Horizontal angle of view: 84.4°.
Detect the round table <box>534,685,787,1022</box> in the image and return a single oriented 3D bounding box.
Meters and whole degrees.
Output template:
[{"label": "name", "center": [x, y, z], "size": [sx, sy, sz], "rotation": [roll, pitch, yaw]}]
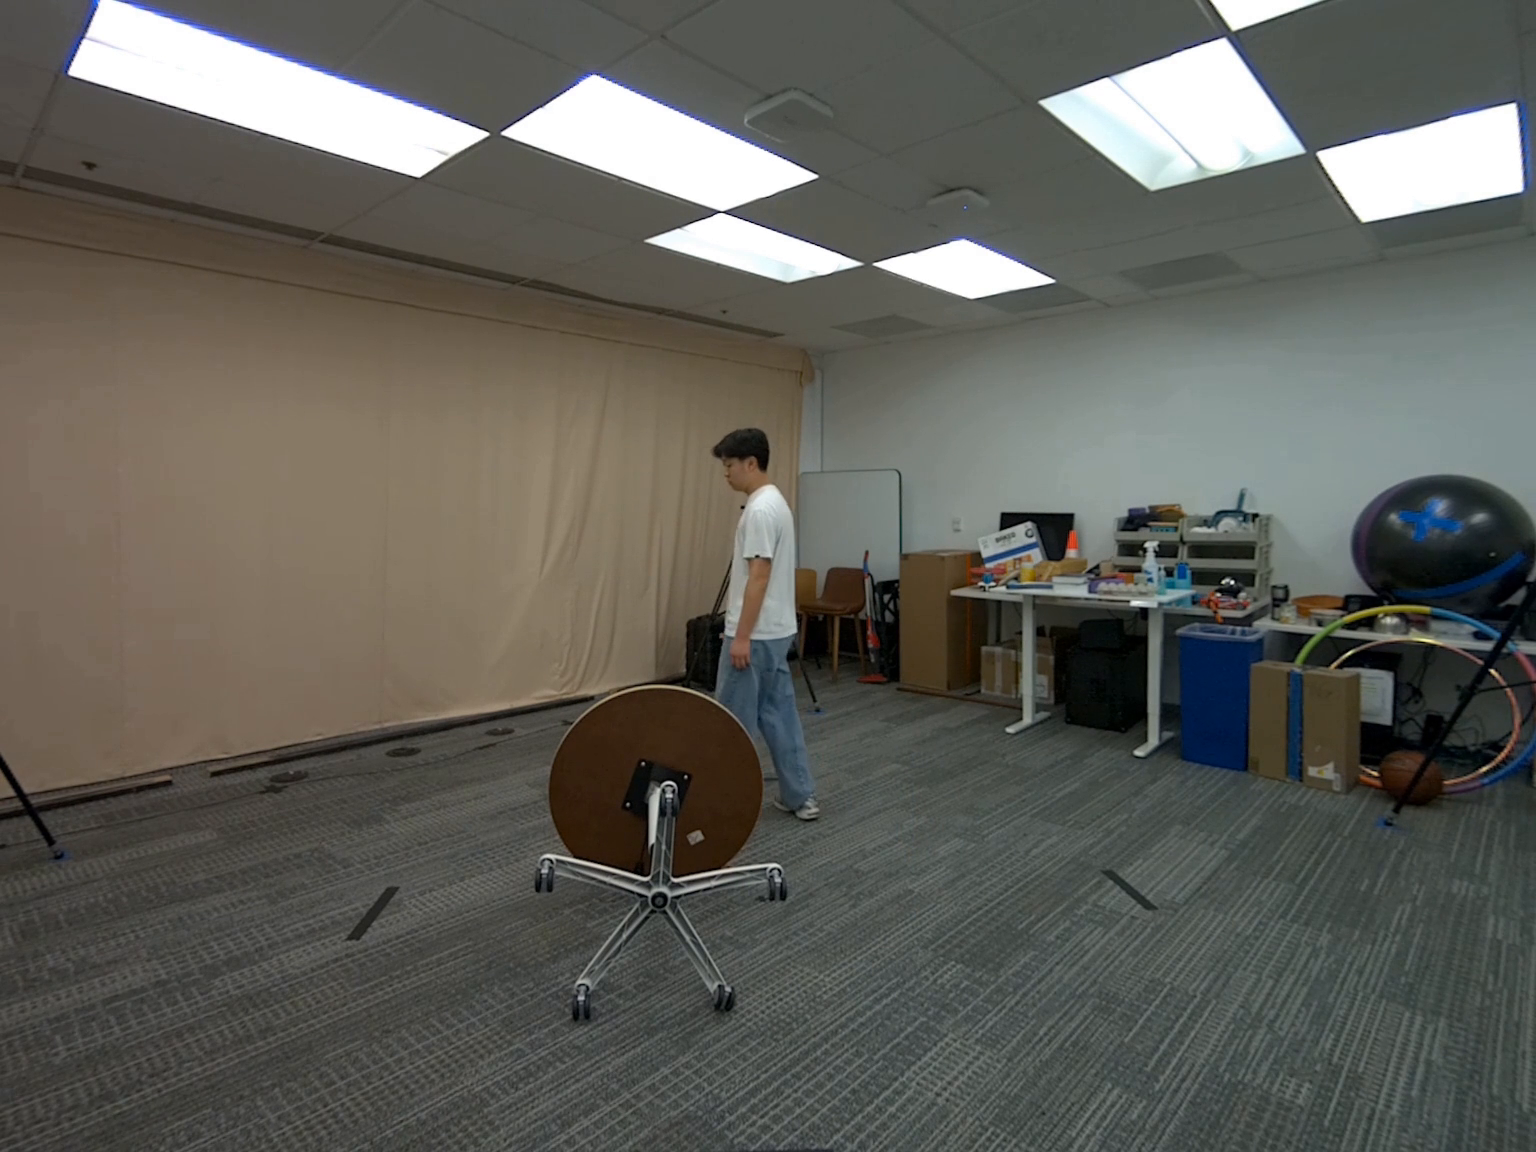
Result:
[{"label": "round table", "center": [-0.346, 0.833, 2.628], "size": [0.780, 0.780, 0.796], "rotation": [0, 10, -7]}]
